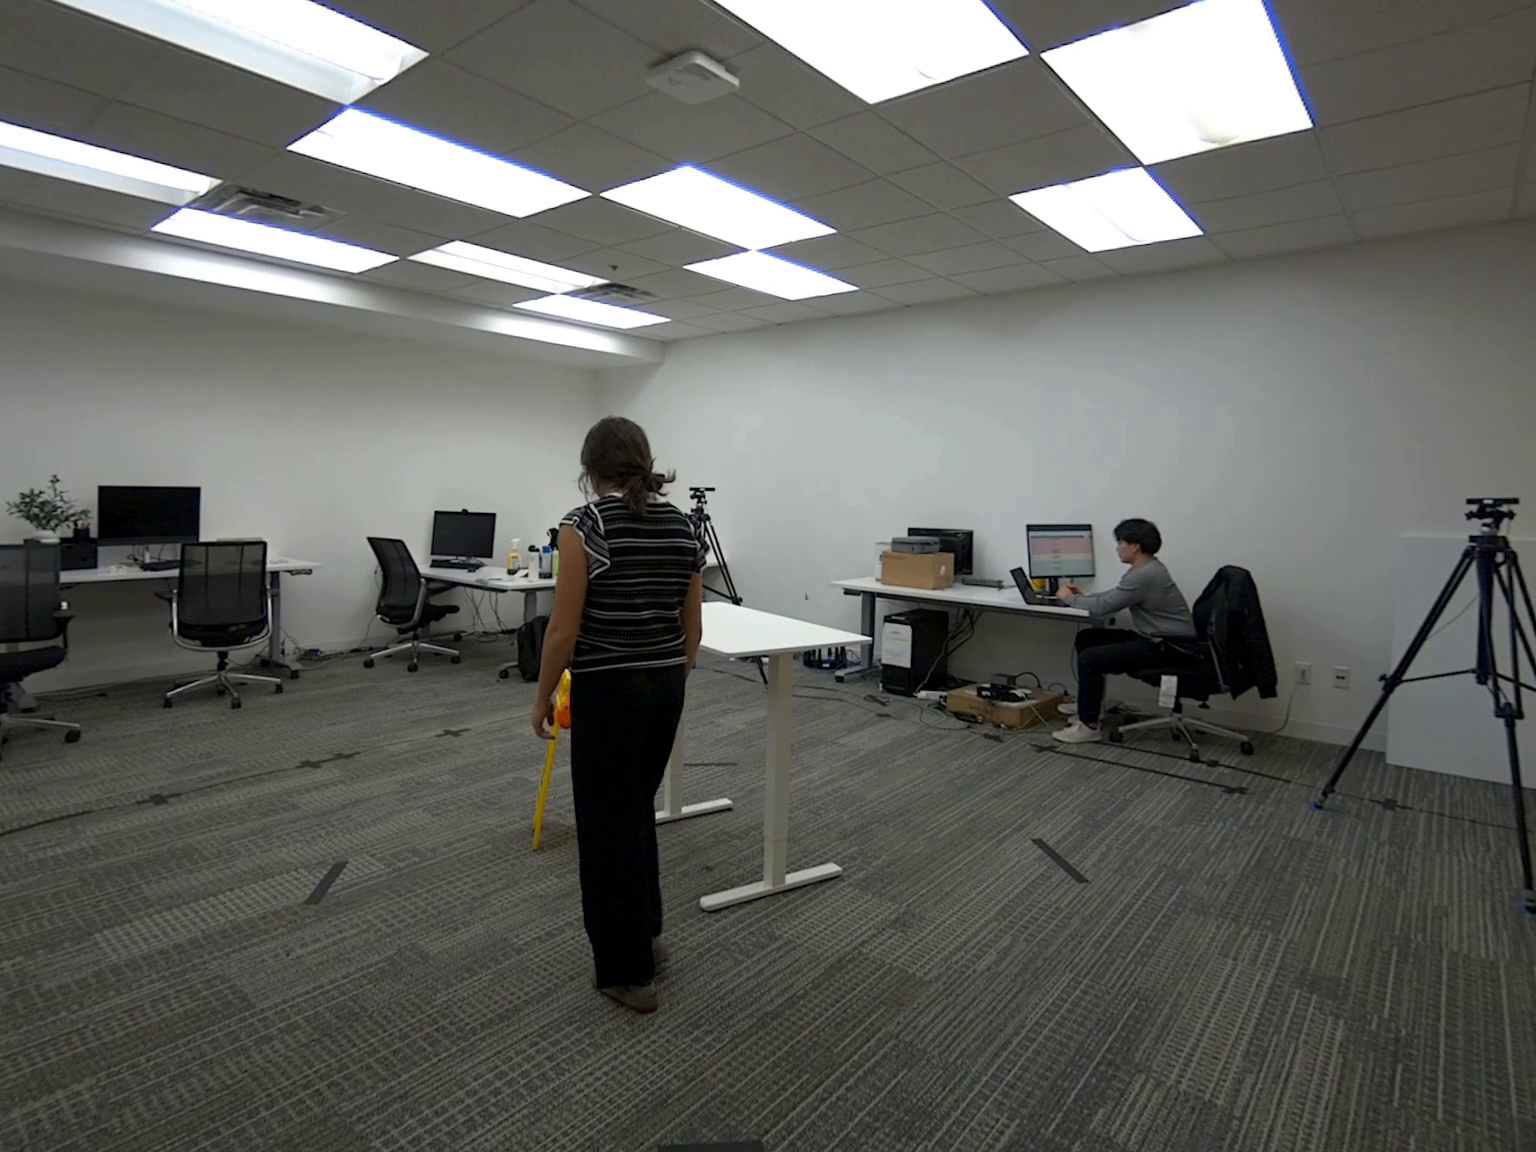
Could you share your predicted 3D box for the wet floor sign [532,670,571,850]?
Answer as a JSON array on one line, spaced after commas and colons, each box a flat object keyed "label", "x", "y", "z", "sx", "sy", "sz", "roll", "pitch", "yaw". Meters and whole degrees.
[{"label": "wet floor sign", "x": -0.823, "y": 0.707, "z": 3.382, "sx": 0.286, "sy": 0.644, "sz": 0.287, "roll": -1, "pitch": 3, "yaw": -14}]
